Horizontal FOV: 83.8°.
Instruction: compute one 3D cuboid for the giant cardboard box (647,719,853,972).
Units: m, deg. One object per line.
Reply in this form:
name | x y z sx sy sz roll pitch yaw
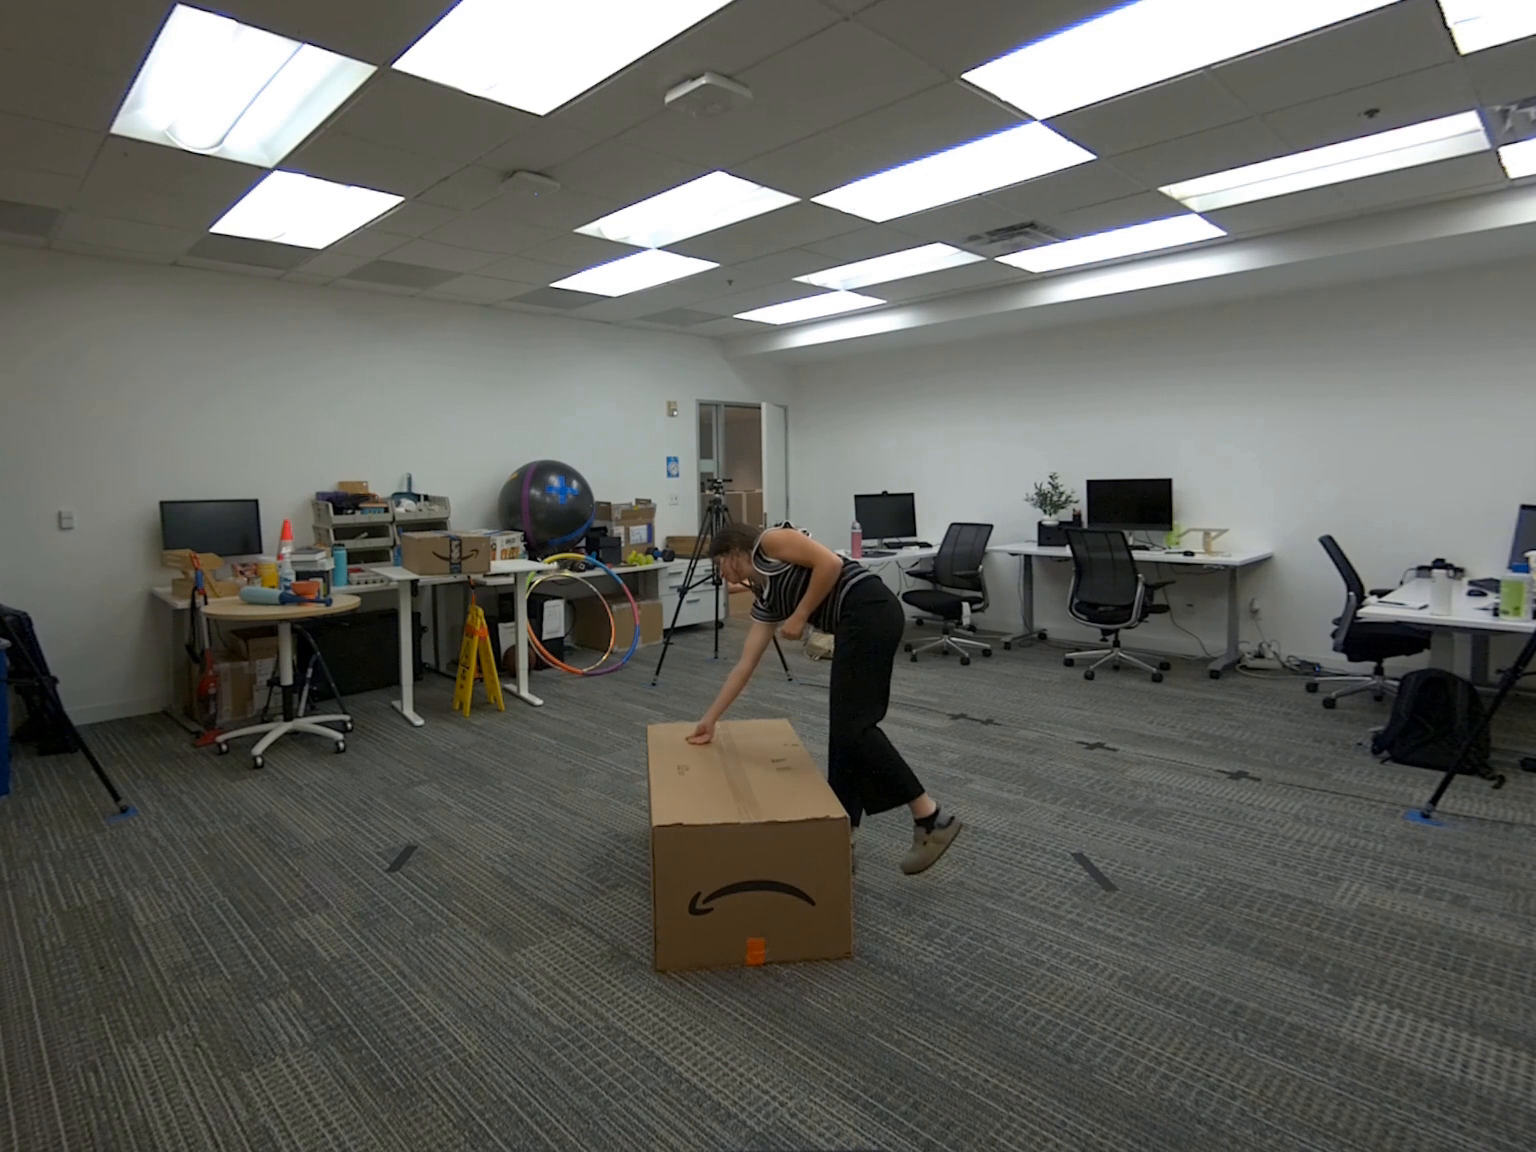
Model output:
giant cardboard box | -0.119 0.855 2.947 0.574 0.424 1.037 -1 6 -8
